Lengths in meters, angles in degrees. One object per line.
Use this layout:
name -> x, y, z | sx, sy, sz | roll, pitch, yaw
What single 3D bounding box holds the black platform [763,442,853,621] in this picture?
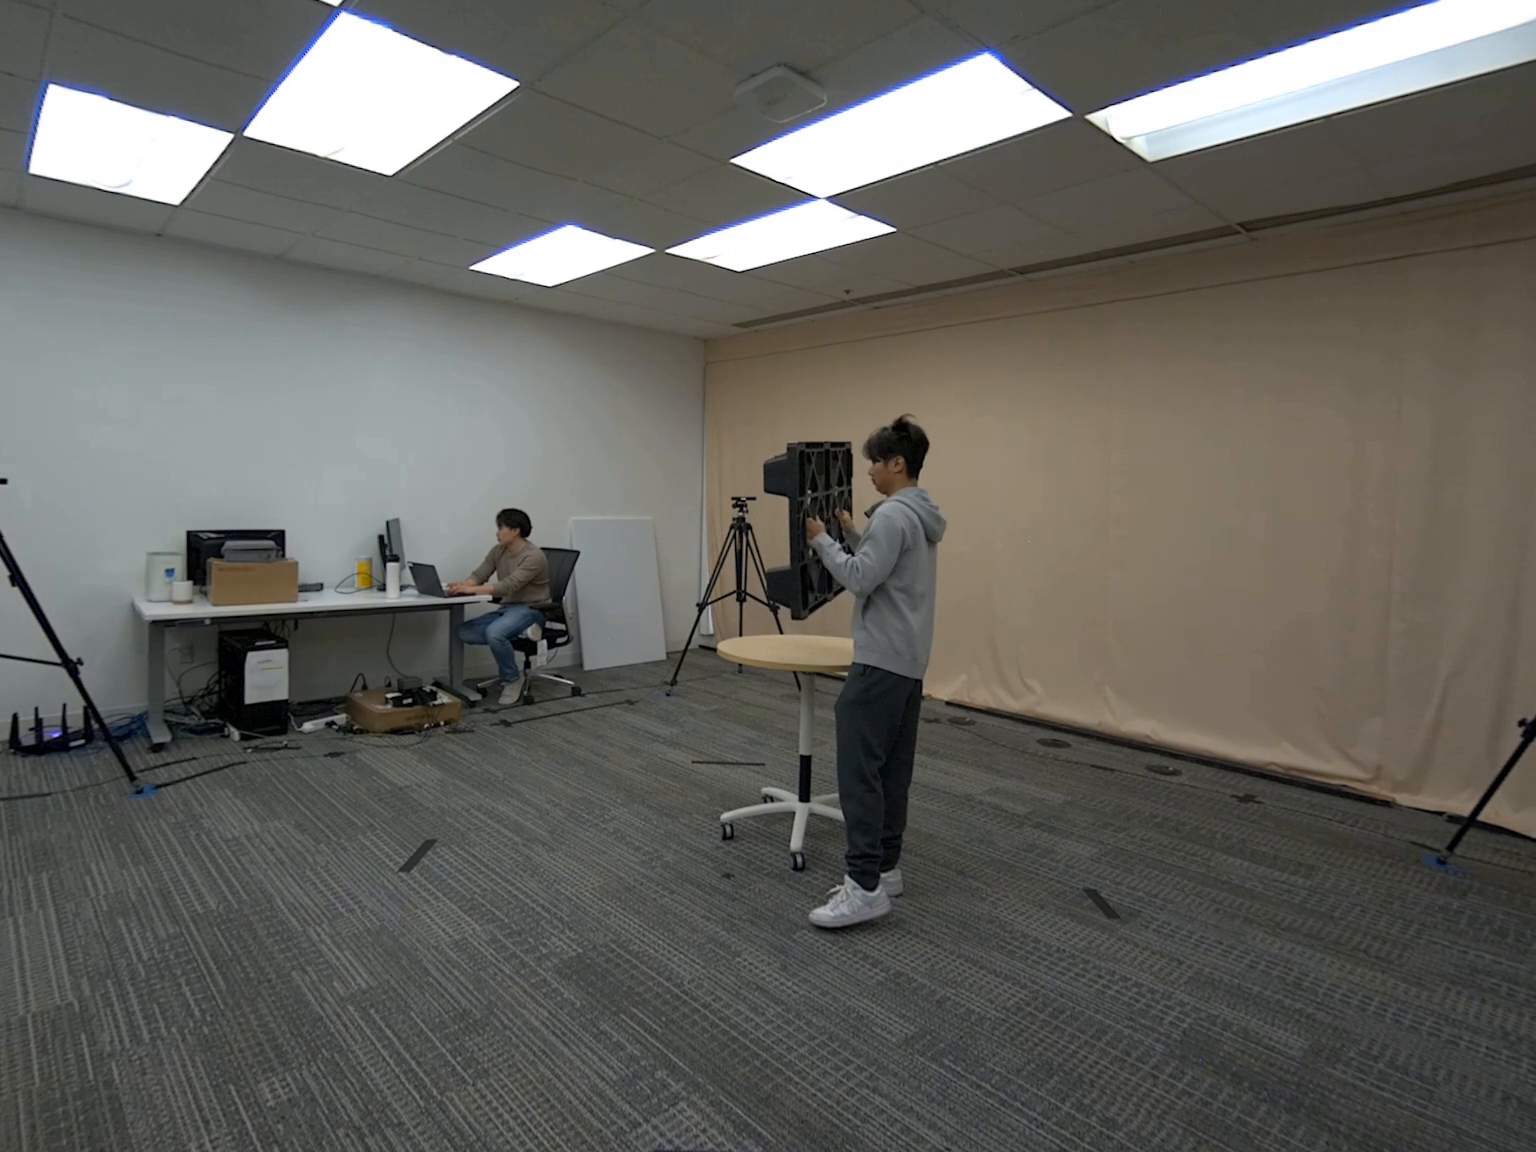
black platform -> 0.164, -0.200, 3.171 | 0.145, 0.602, 0.797 | 2, 8, 19
